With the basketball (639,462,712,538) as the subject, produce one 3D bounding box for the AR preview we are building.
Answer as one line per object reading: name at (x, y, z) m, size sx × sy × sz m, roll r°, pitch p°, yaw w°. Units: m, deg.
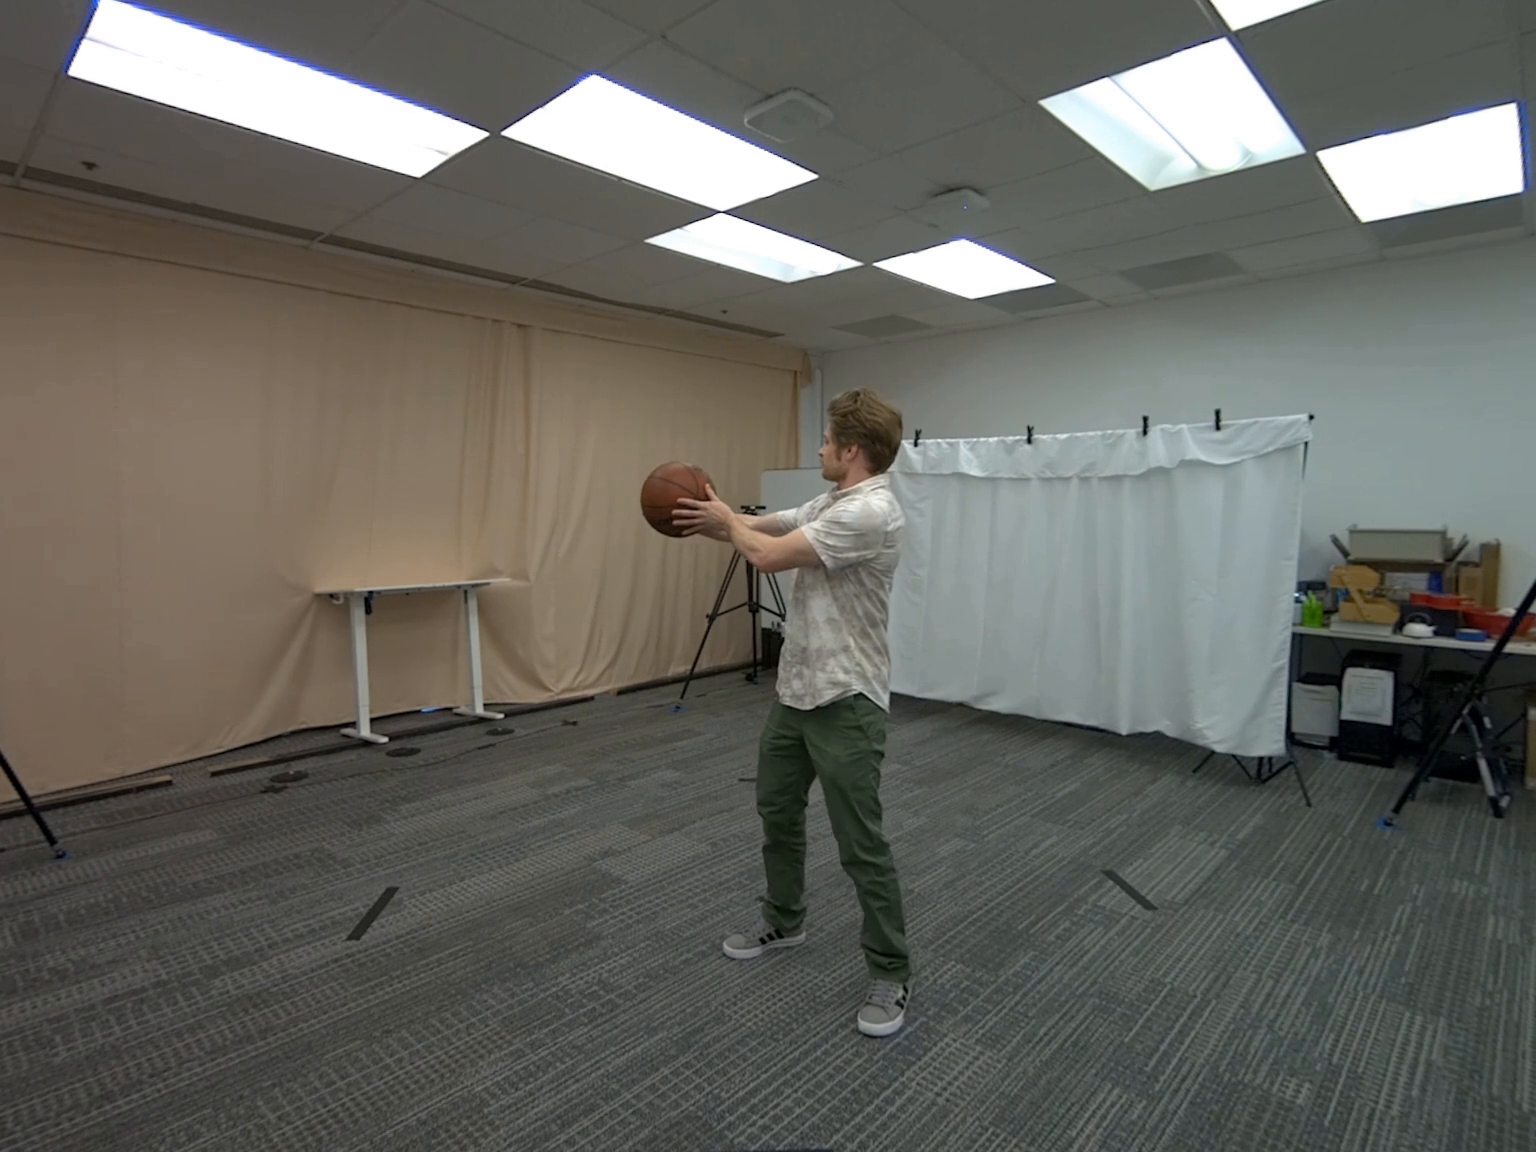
basketball at (-0.277, -0.237, 2.615) m, size 0.236 × 0.235 × 0.237 m, roll 0°, pitch 4°, yaw -2°
